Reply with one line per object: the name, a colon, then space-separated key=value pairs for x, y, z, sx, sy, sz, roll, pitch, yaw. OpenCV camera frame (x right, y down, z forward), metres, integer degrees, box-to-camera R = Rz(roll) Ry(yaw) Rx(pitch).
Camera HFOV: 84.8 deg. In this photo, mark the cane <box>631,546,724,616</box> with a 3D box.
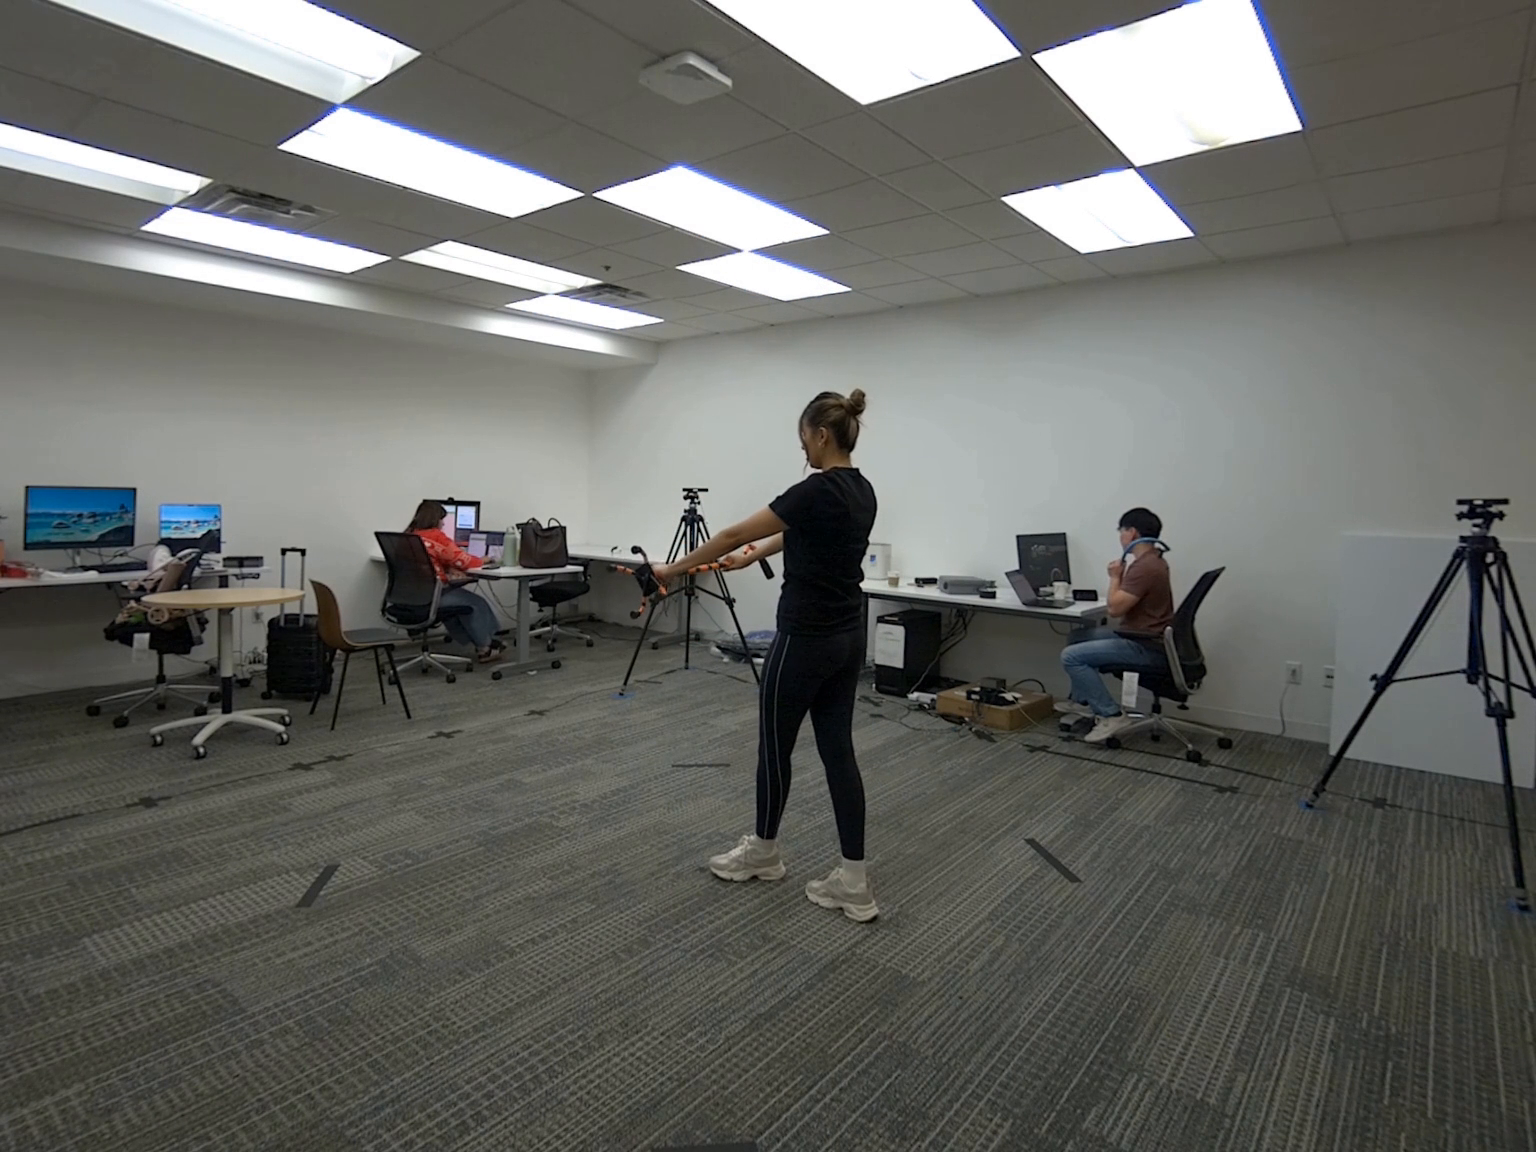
cane: x=-0.249 y=-0.031 z=3.189 sx=0.153 sy=0.209 sz=0.886 roll=-33 pitch=-10 yaw=27
